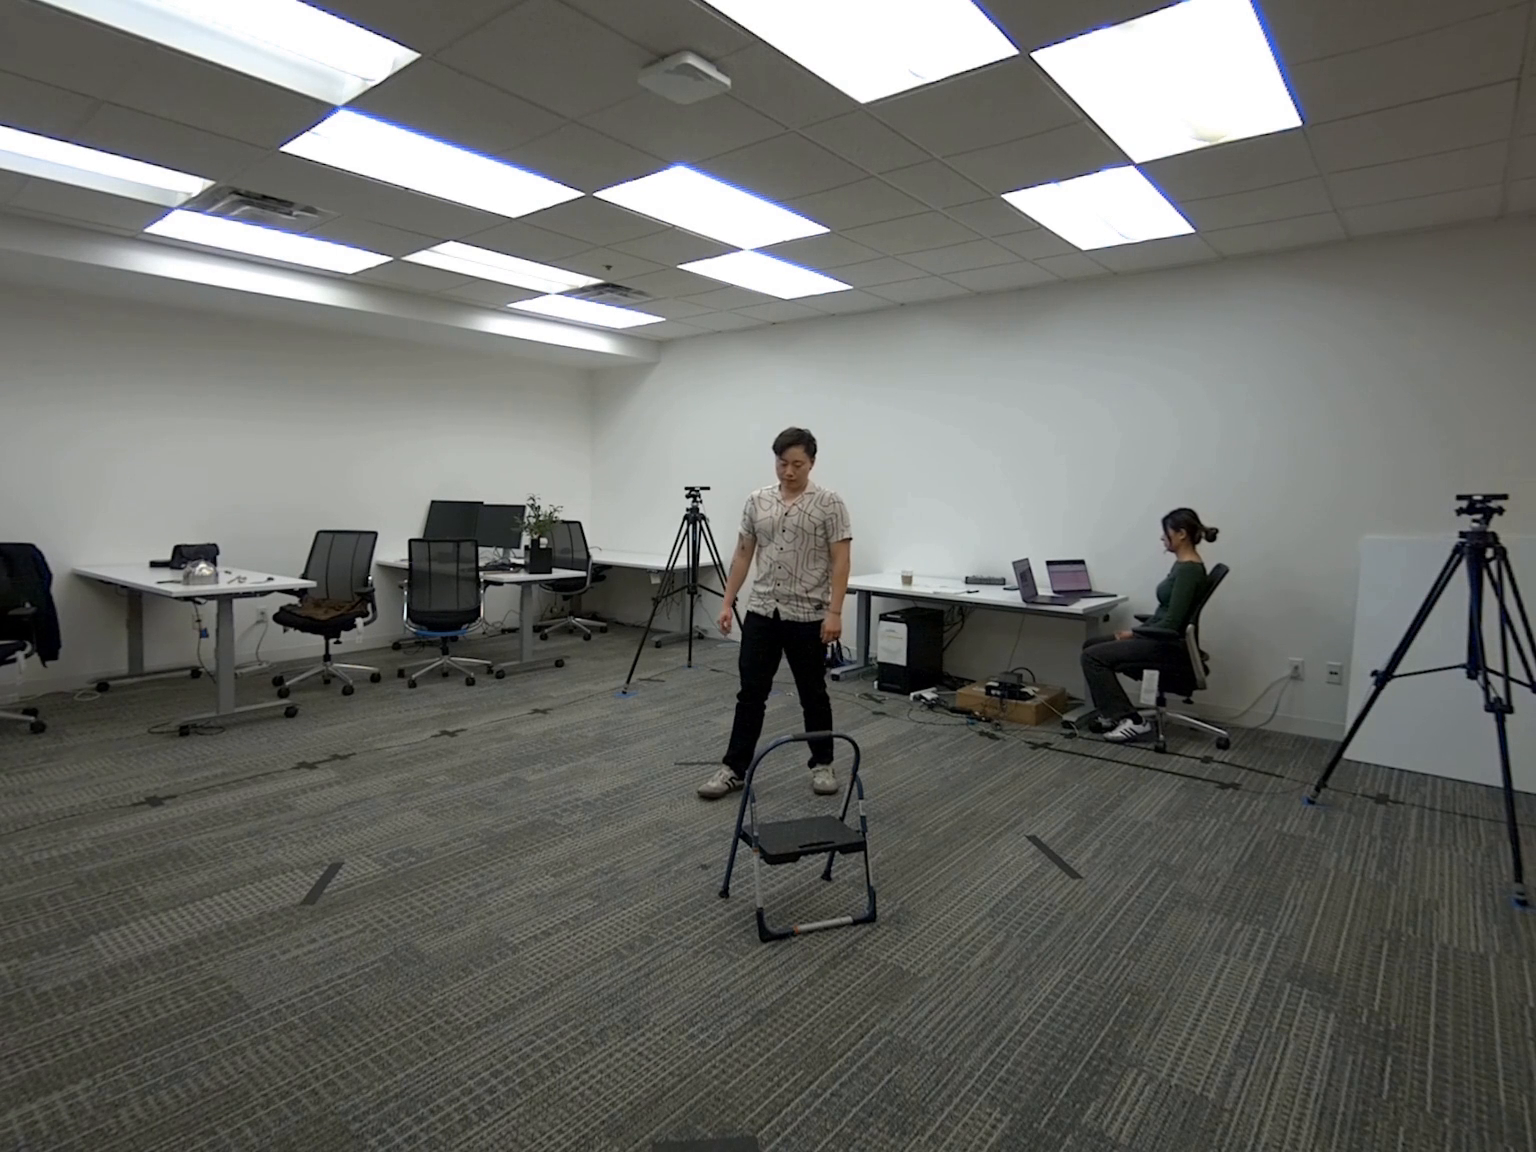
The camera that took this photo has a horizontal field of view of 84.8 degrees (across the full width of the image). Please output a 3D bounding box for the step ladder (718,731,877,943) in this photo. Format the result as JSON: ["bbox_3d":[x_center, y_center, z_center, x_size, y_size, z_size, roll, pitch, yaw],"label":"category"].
[{"bbox_3d":[0.094,0.796,2.814,0.421,0.604,0.358,-1,4,-24],"label":"step ladder"}]
